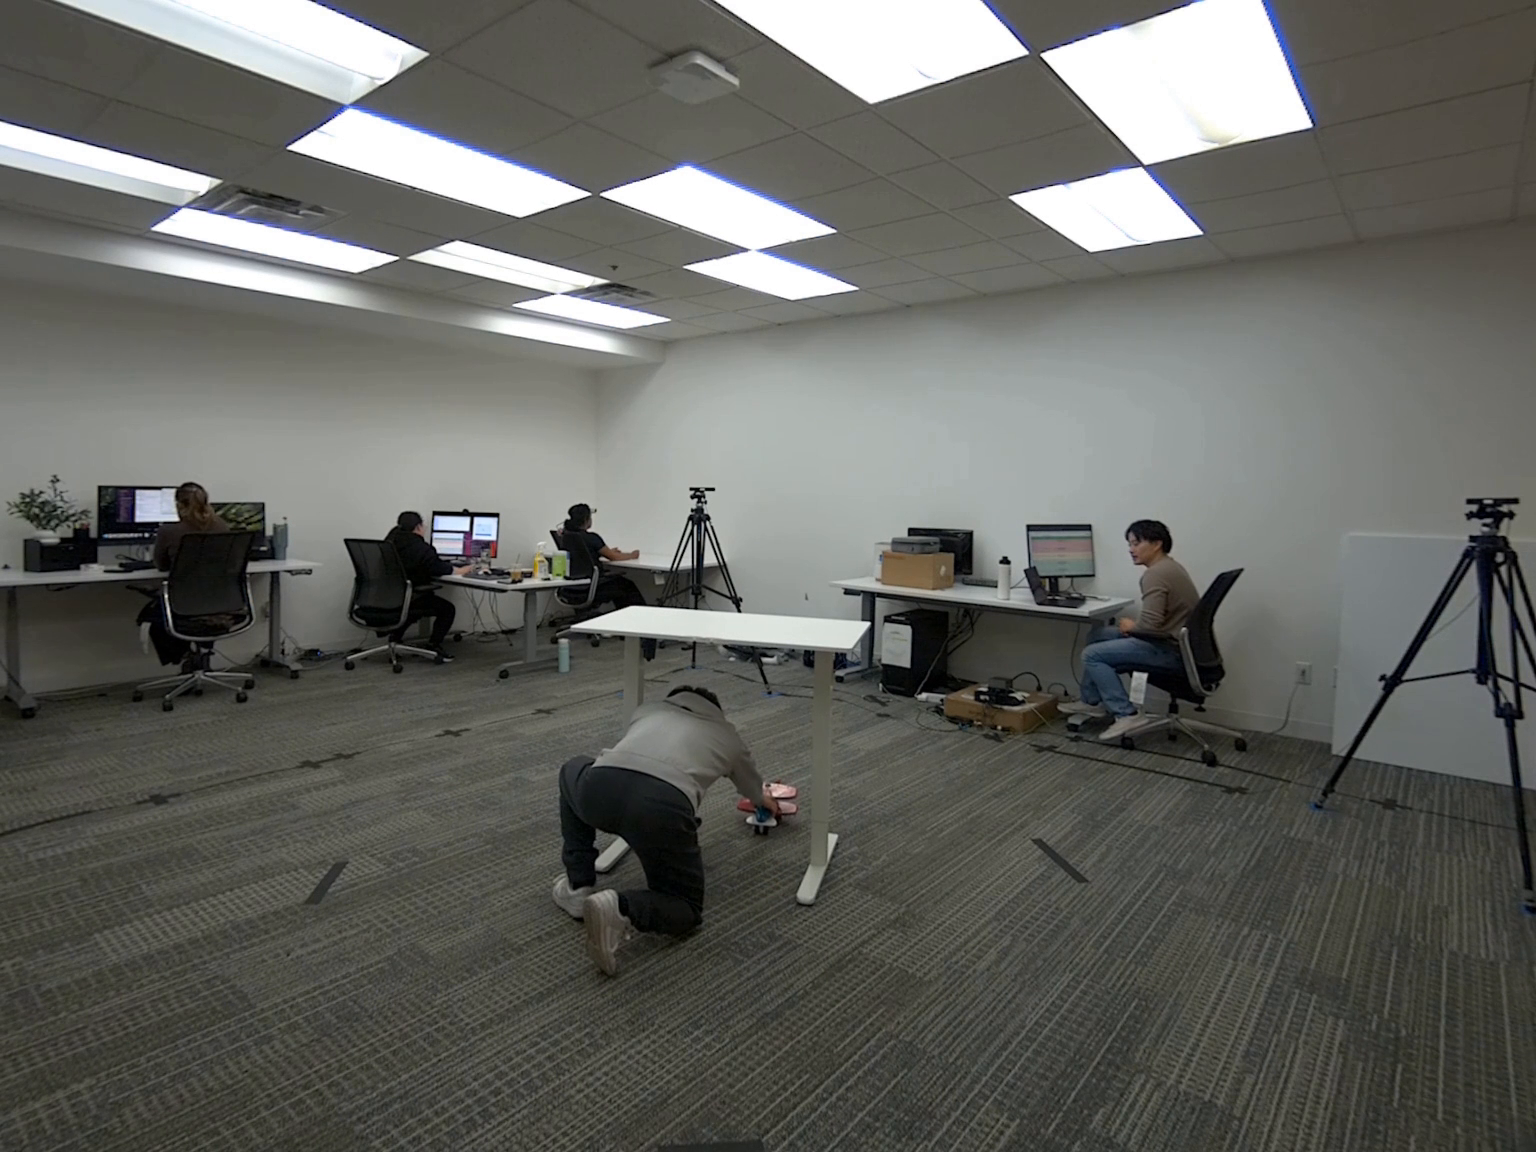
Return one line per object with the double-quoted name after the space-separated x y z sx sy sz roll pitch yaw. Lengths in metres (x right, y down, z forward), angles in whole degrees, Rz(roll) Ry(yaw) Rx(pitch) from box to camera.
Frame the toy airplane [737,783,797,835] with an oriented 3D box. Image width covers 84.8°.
0.001 0.957 3.522 0.246 0.156 0.265 0 4 -19 "toy airplane"
